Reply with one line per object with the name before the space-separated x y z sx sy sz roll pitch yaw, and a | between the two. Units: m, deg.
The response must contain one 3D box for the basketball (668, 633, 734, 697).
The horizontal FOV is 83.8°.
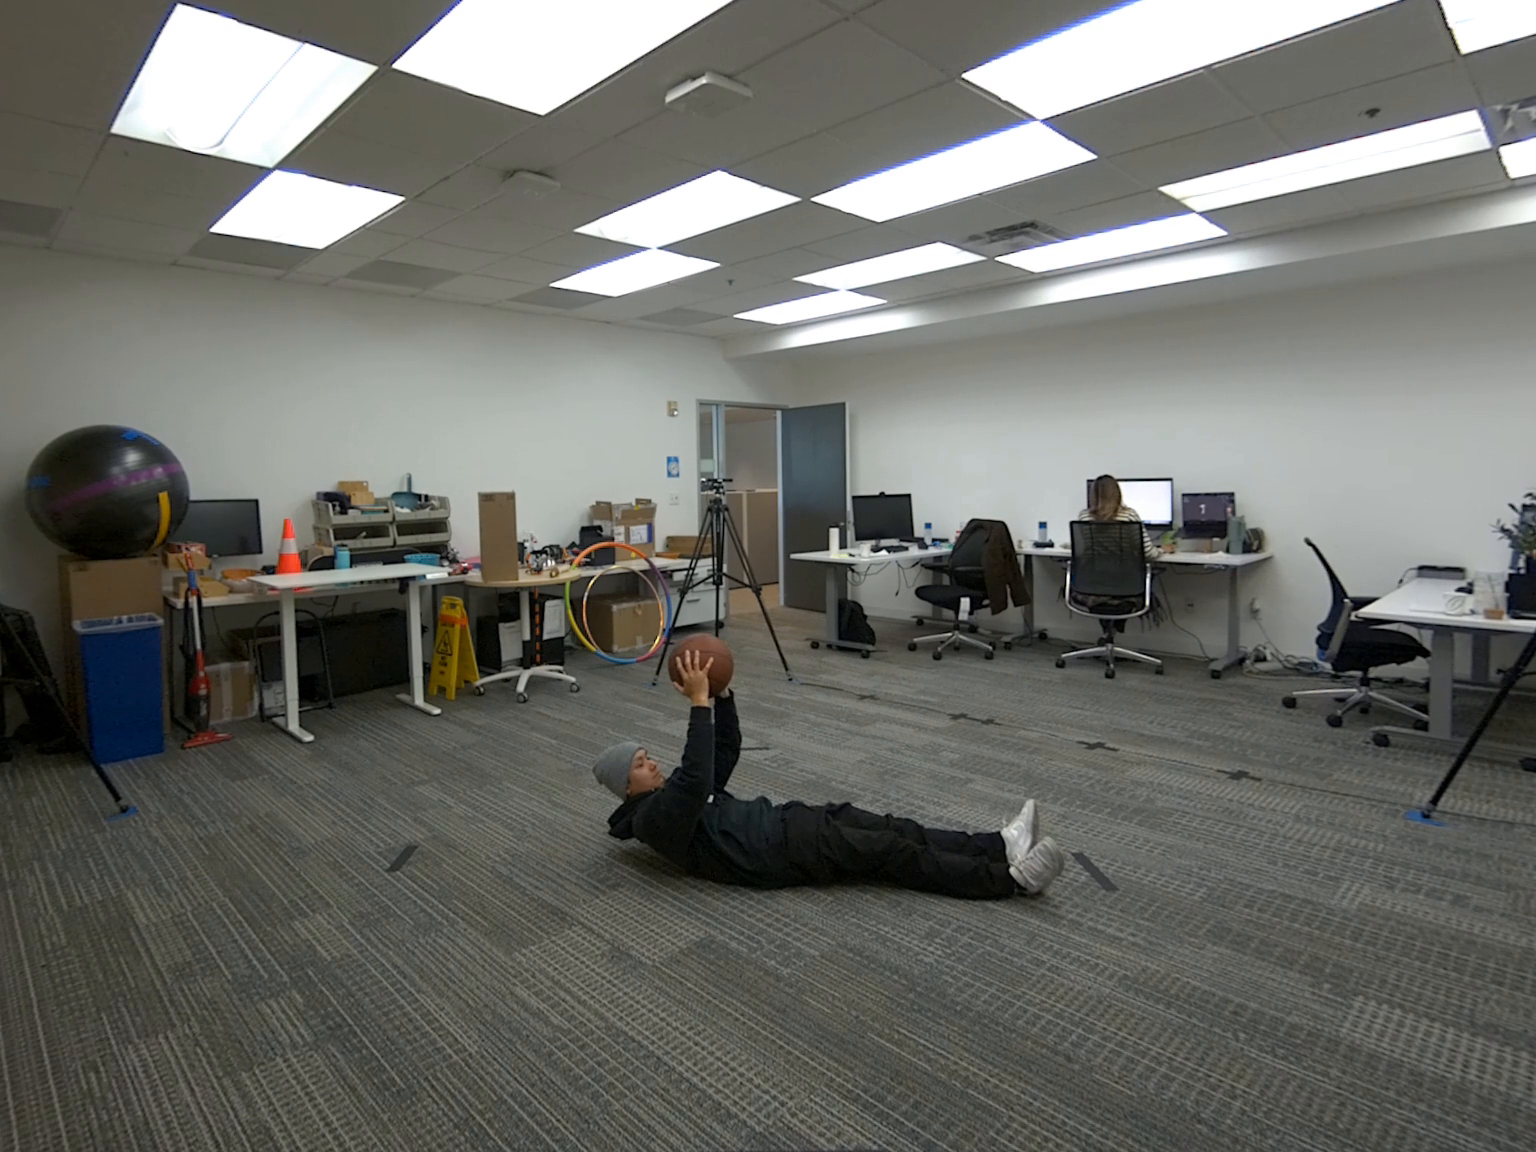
basketball | -0.247 0.328 3.114 0.236 0.235 0.237 -1 5 -2
